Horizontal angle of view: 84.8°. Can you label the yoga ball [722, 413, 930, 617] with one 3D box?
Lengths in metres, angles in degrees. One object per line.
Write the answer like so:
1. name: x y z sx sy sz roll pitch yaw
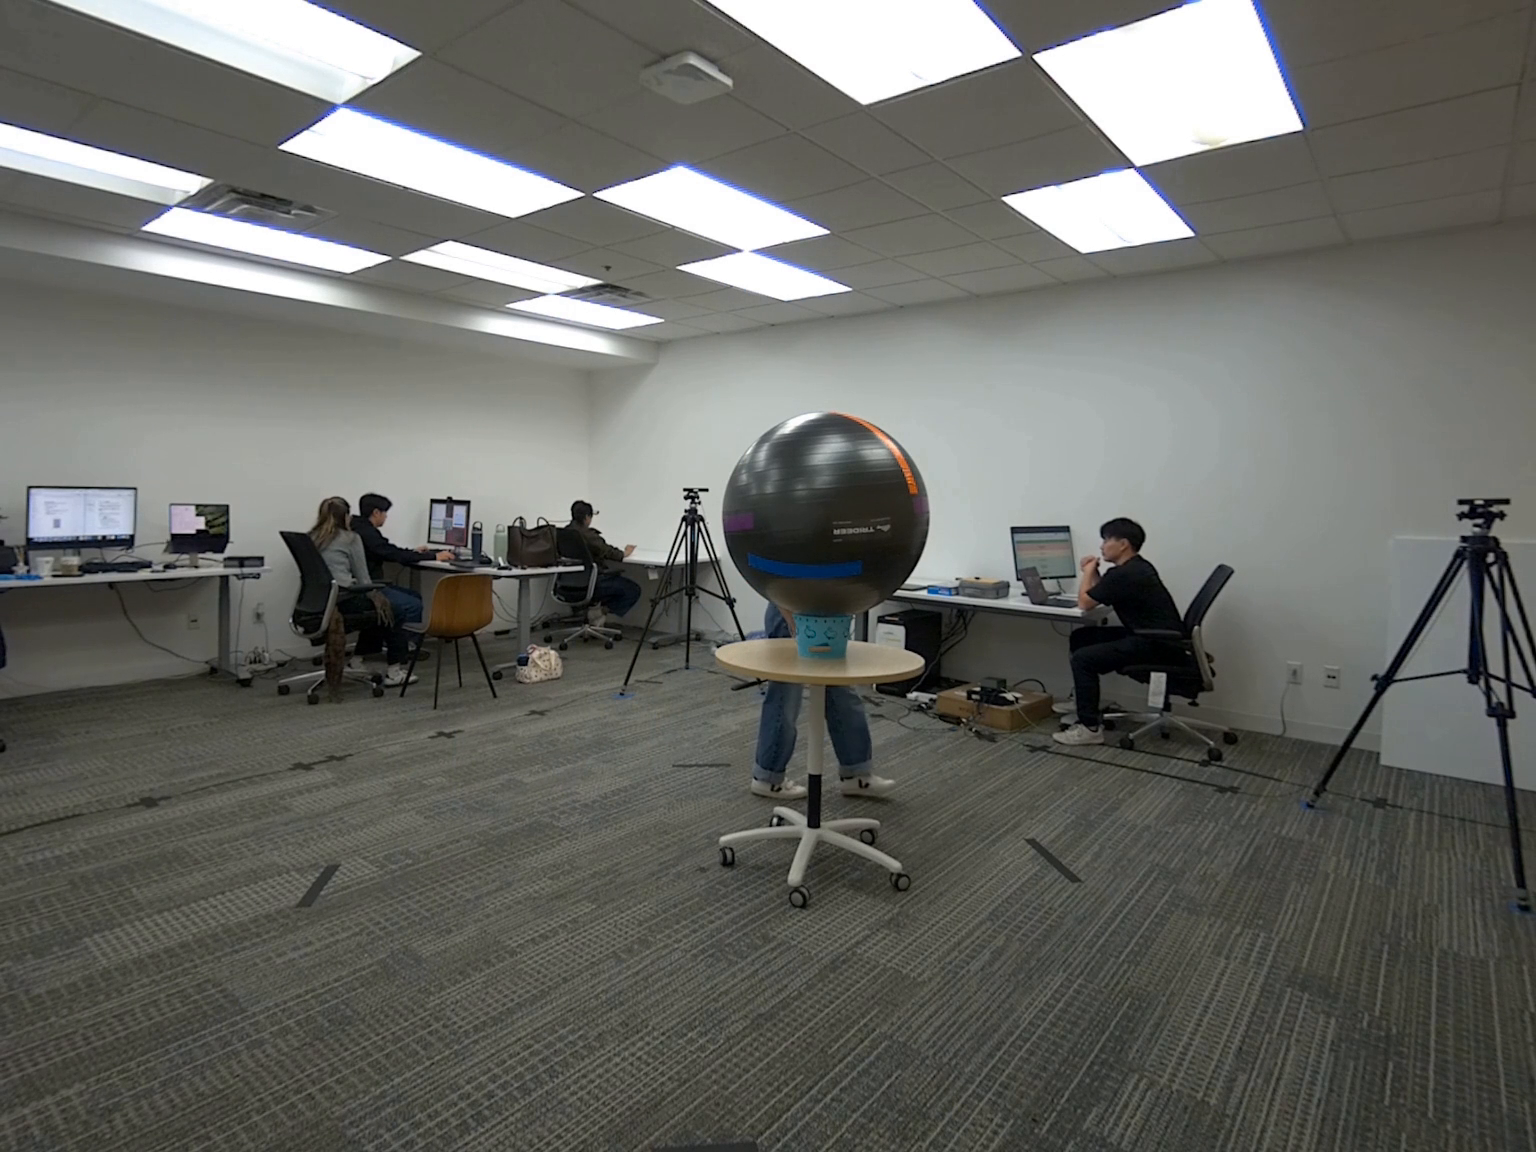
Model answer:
1. yoga ball: 0.223 -0.227 3.149 0.757 0.755 0.762 1 4 -2
